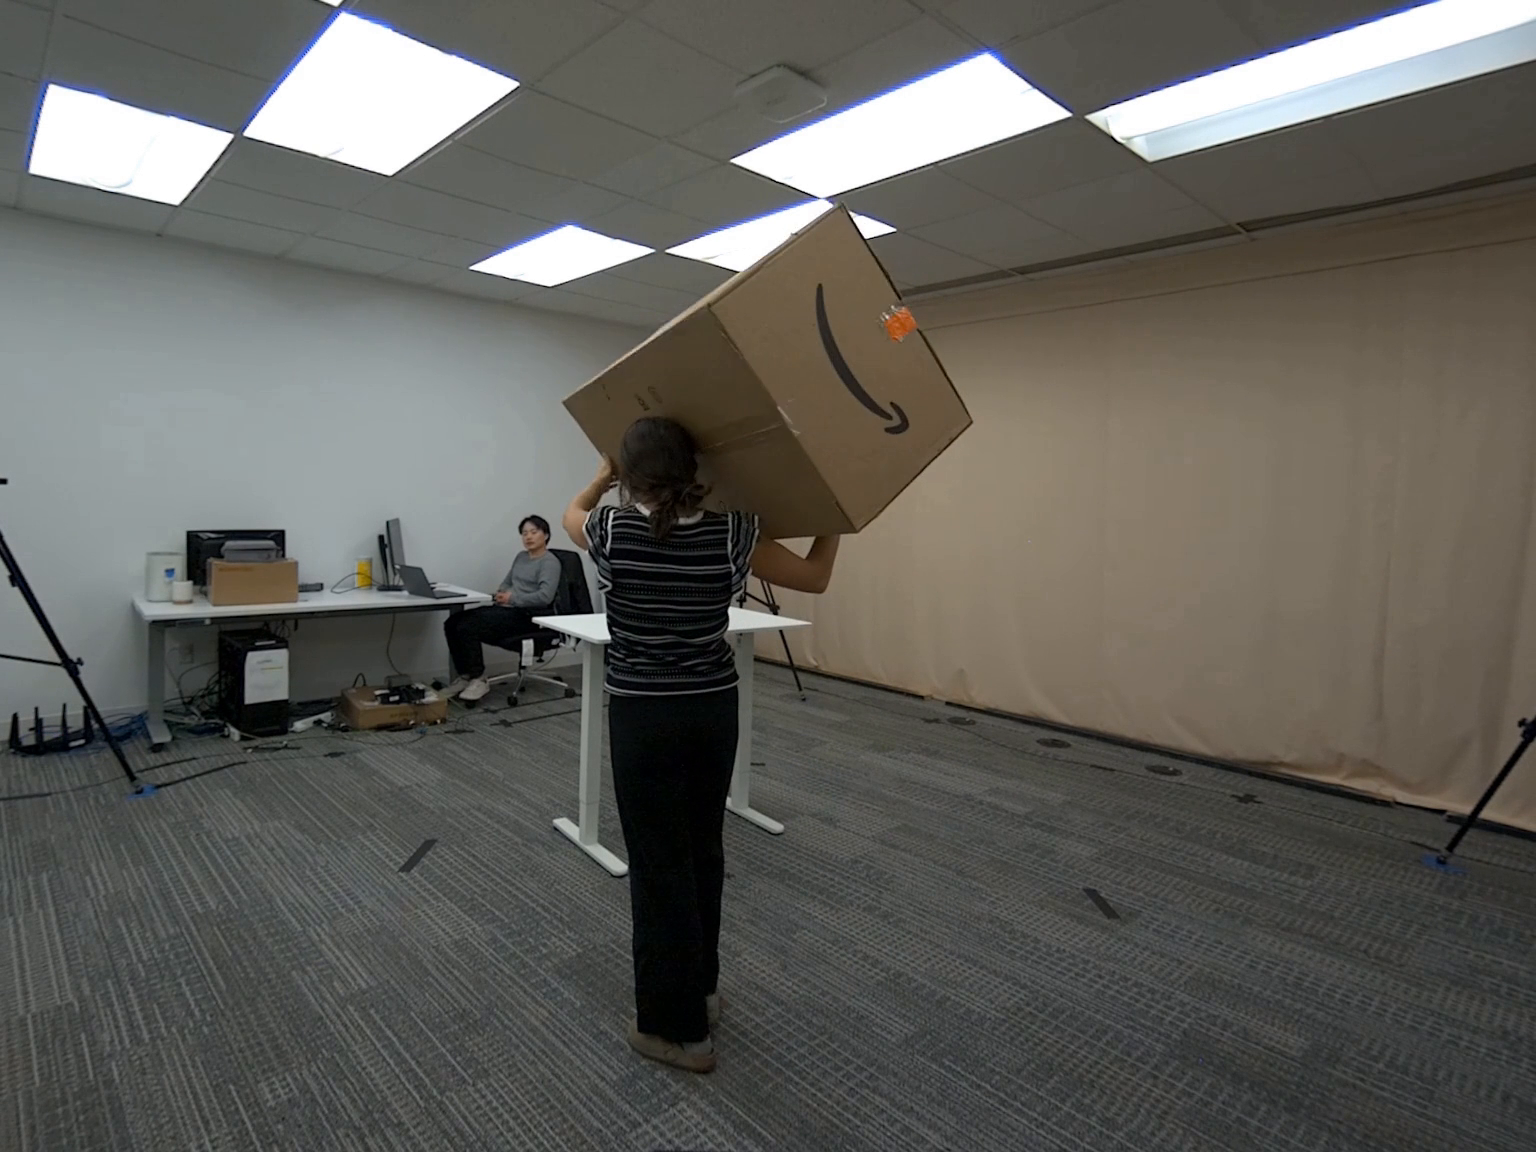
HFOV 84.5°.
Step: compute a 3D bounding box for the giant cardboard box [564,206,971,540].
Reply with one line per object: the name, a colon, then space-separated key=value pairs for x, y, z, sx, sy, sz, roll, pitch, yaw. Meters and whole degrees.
giant cardboard box: x=-0.075 y=-0.437 z=2.241 sx=0.425 sy=0.568 sz=1.045 roll=-42 pitch=18 yaw=-23
